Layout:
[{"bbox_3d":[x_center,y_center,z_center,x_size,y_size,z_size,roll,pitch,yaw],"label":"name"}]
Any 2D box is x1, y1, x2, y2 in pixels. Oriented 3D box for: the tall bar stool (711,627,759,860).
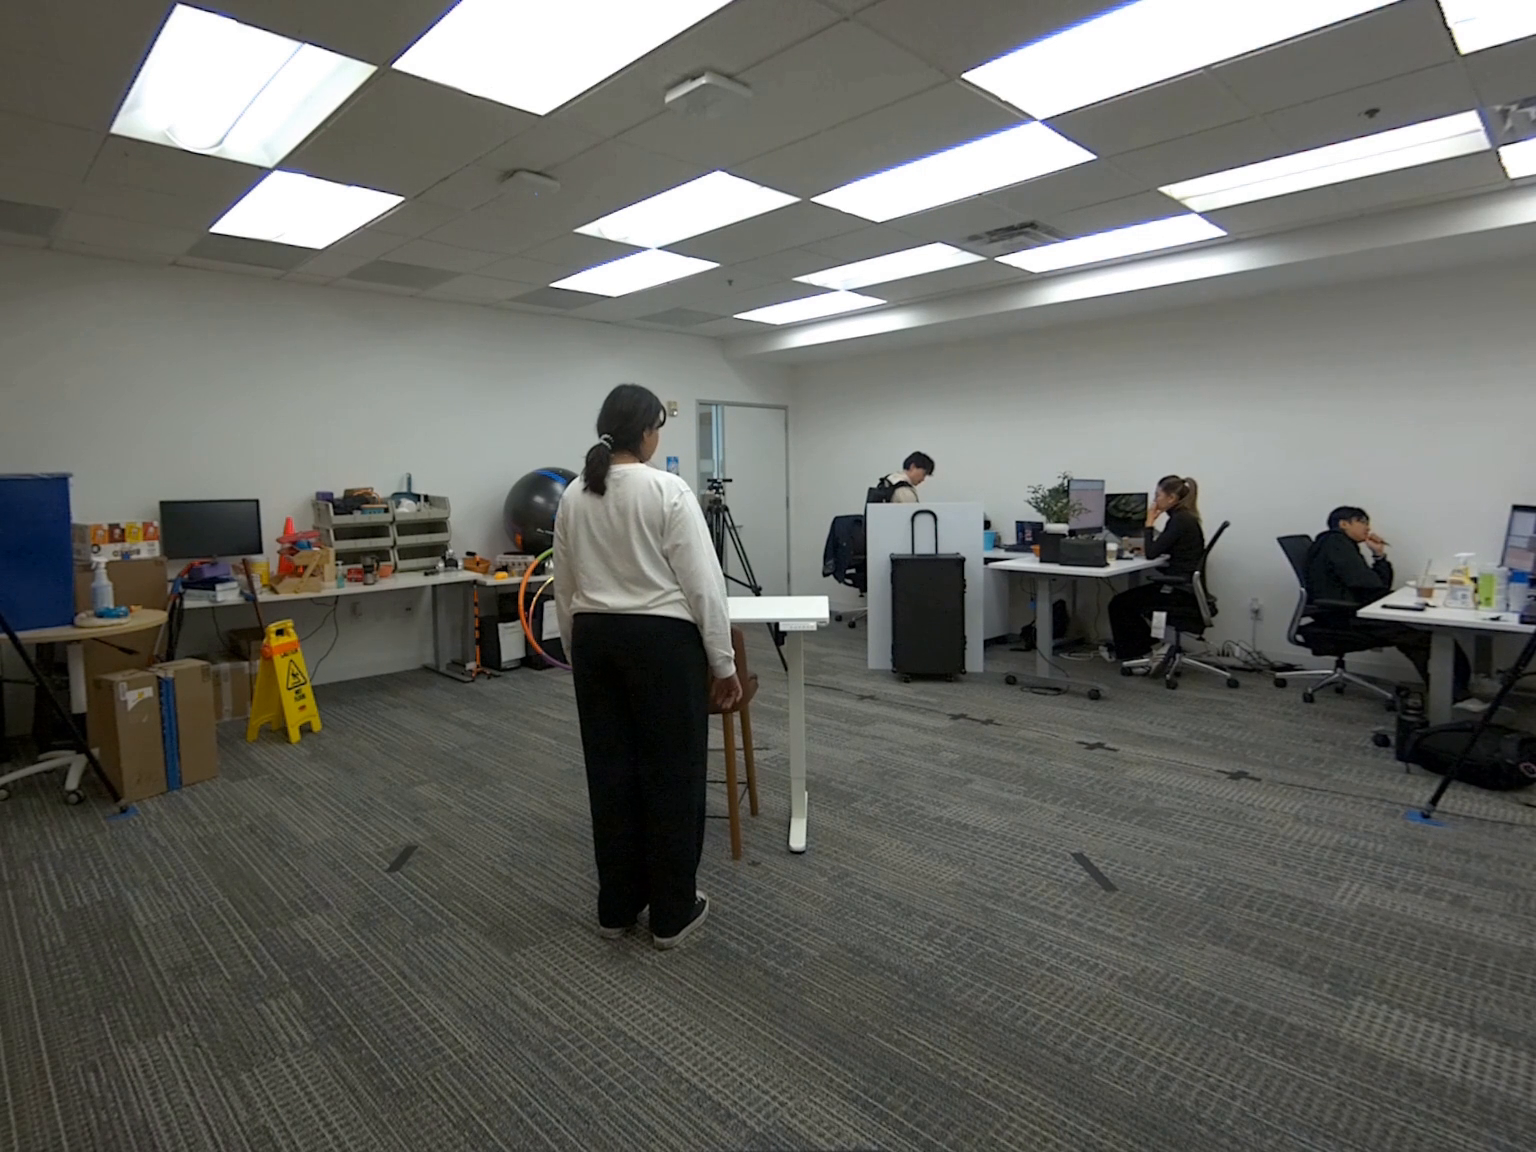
[{"bbox_3d":[-0.282,0.589,3.355,0.461,0.885,0.465,0,5,9],"label":"tall bar stool"}]
